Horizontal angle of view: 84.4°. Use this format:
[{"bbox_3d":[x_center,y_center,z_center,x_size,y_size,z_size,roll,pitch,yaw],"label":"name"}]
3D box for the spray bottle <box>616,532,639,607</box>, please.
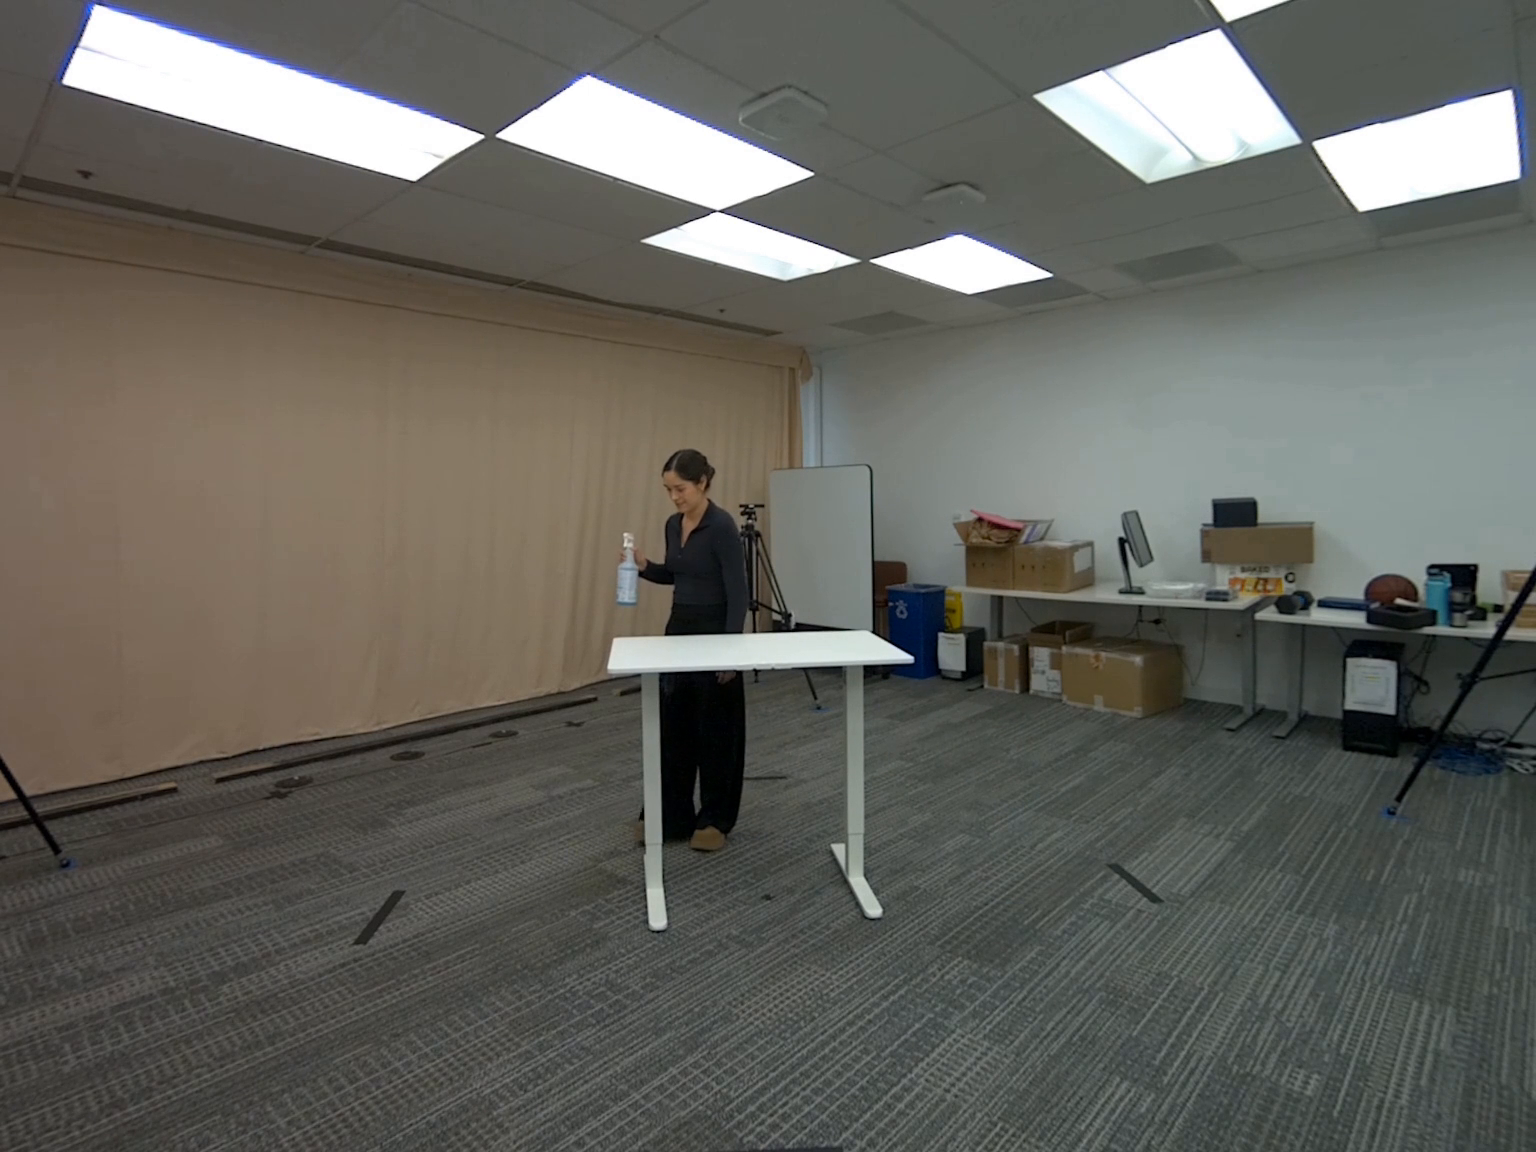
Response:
[{"bbox_3d":[-0.578,-0.024,3.482,0.090,0.297,0.087,3,2,40],"label":"spray bottle"}]
